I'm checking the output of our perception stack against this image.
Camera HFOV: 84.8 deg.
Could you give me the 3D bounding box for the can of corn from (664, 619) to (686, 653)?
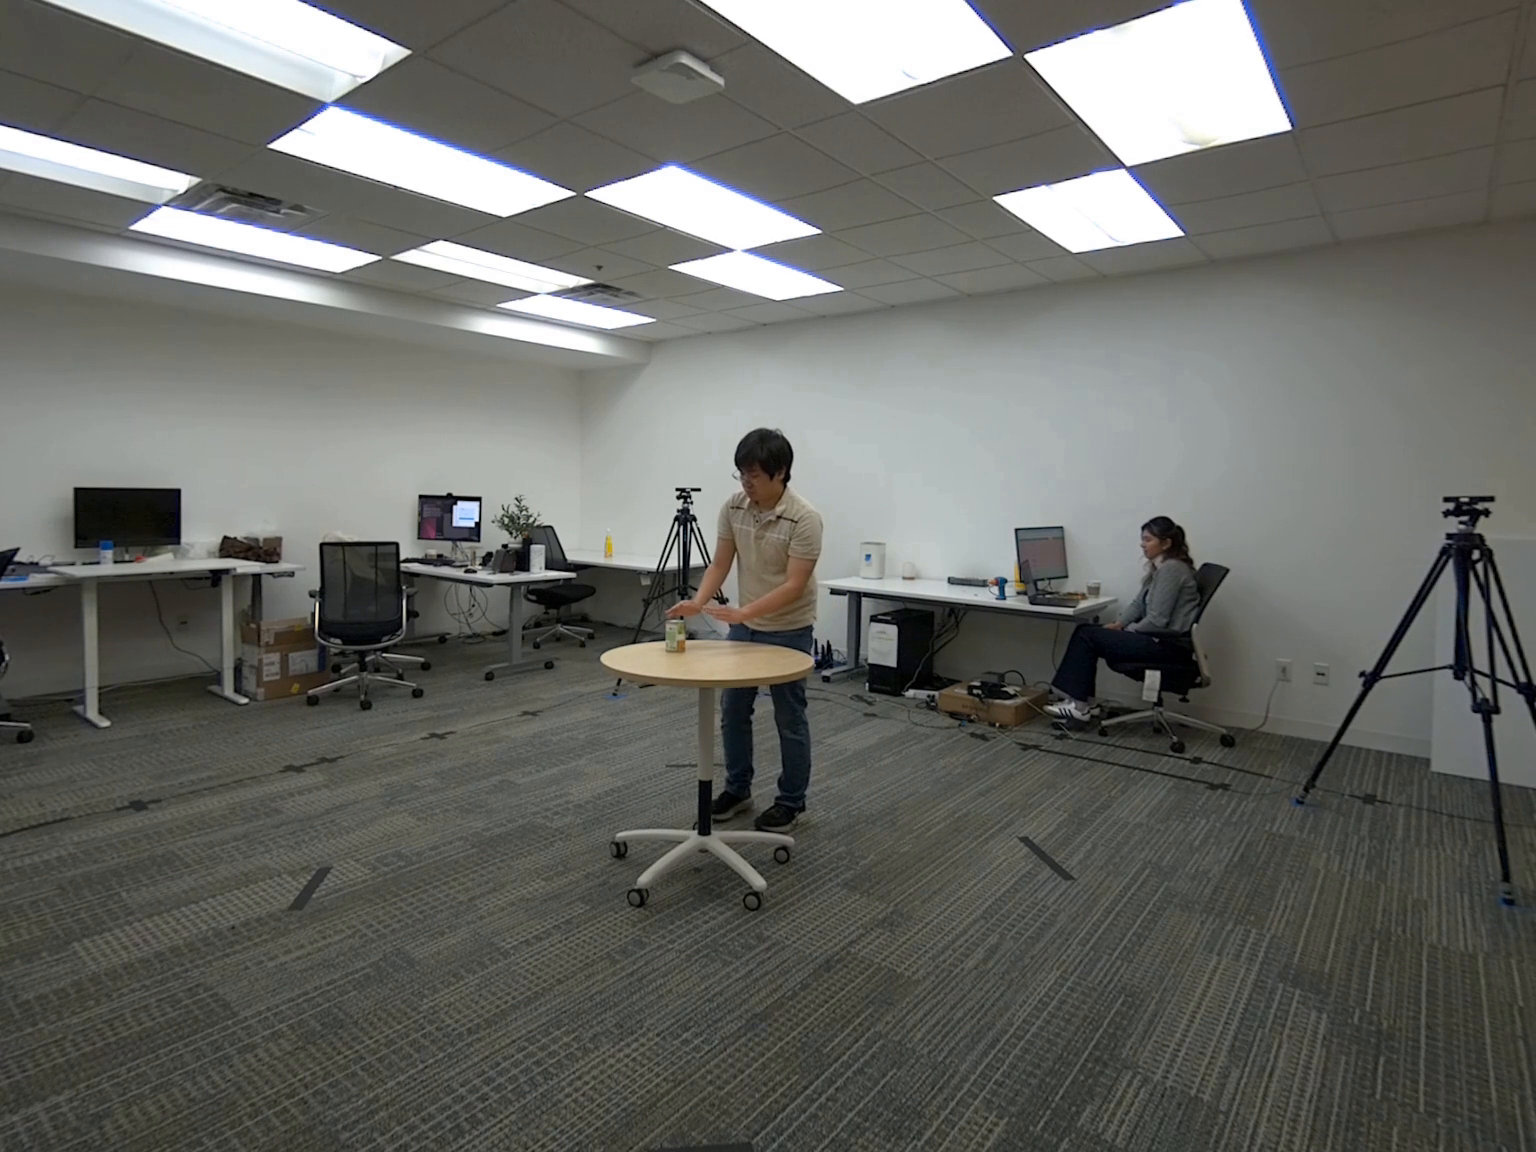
[{"bbox_3d":[-0.361,0.222,3.179,0.074,0.111,0.074,0,2,-2],"label":"can of corn"}]
